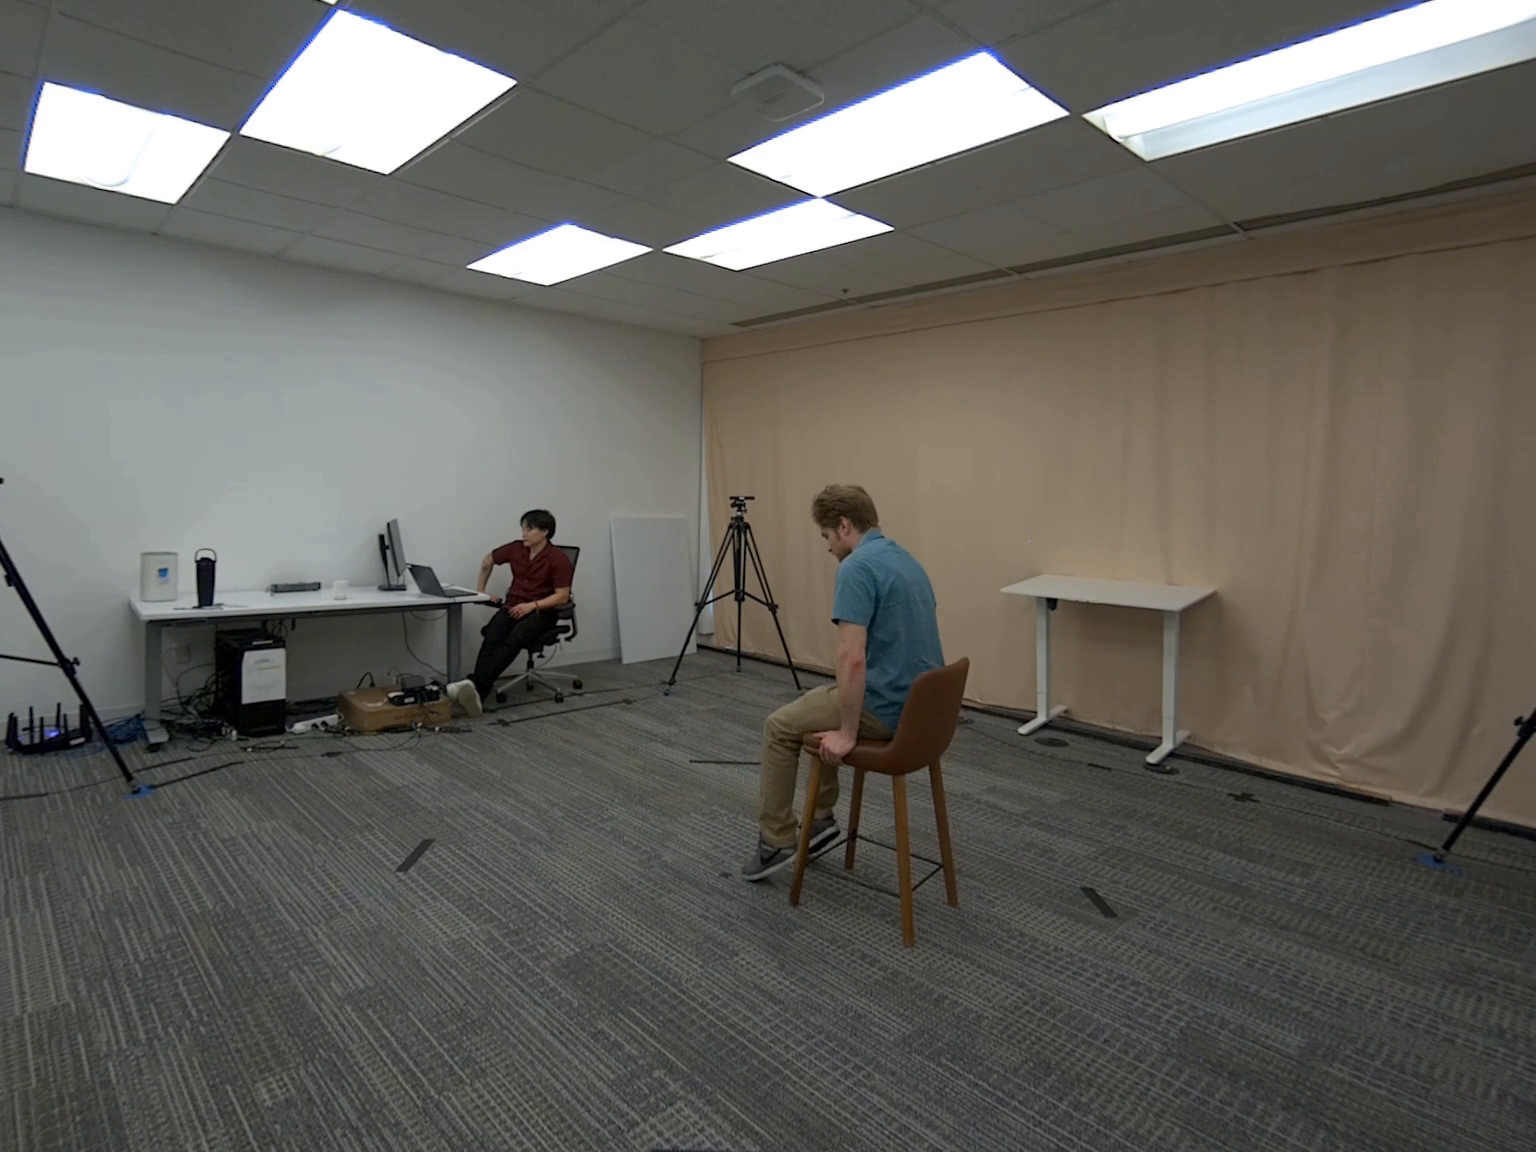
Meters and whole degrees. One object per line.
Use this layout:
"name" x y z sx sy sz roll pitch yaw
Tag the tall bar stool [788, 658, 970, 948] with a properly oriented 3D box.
"tall bar stool" 0.383 0.704 2.869 0.479 0.886 0.447 8 8 36
